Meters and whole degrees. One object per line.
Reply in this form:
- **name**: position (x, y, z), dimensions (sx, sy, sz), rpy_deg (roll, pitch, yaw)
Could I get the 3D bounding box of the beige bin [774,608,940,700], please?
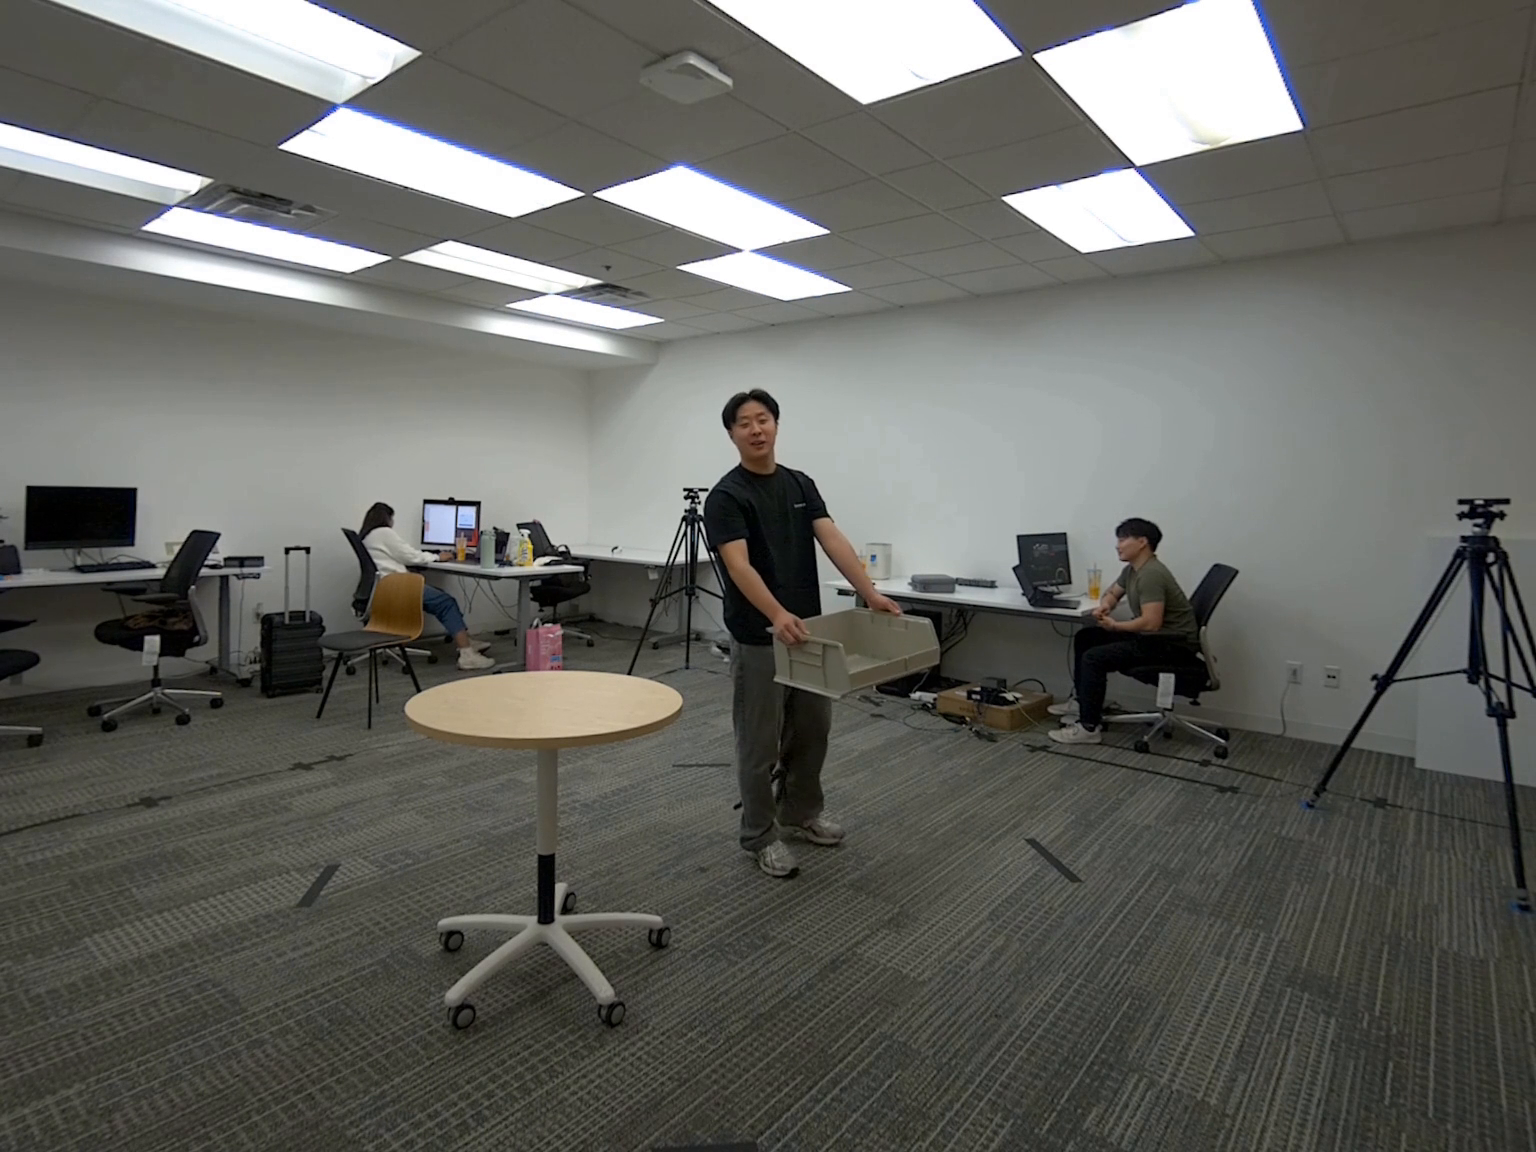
- **beige bin**: position (0.272, 0.245, 2.802), dimensions (0.411, 0.188, 0.390), rpy_deg (-10, 9, -36)
